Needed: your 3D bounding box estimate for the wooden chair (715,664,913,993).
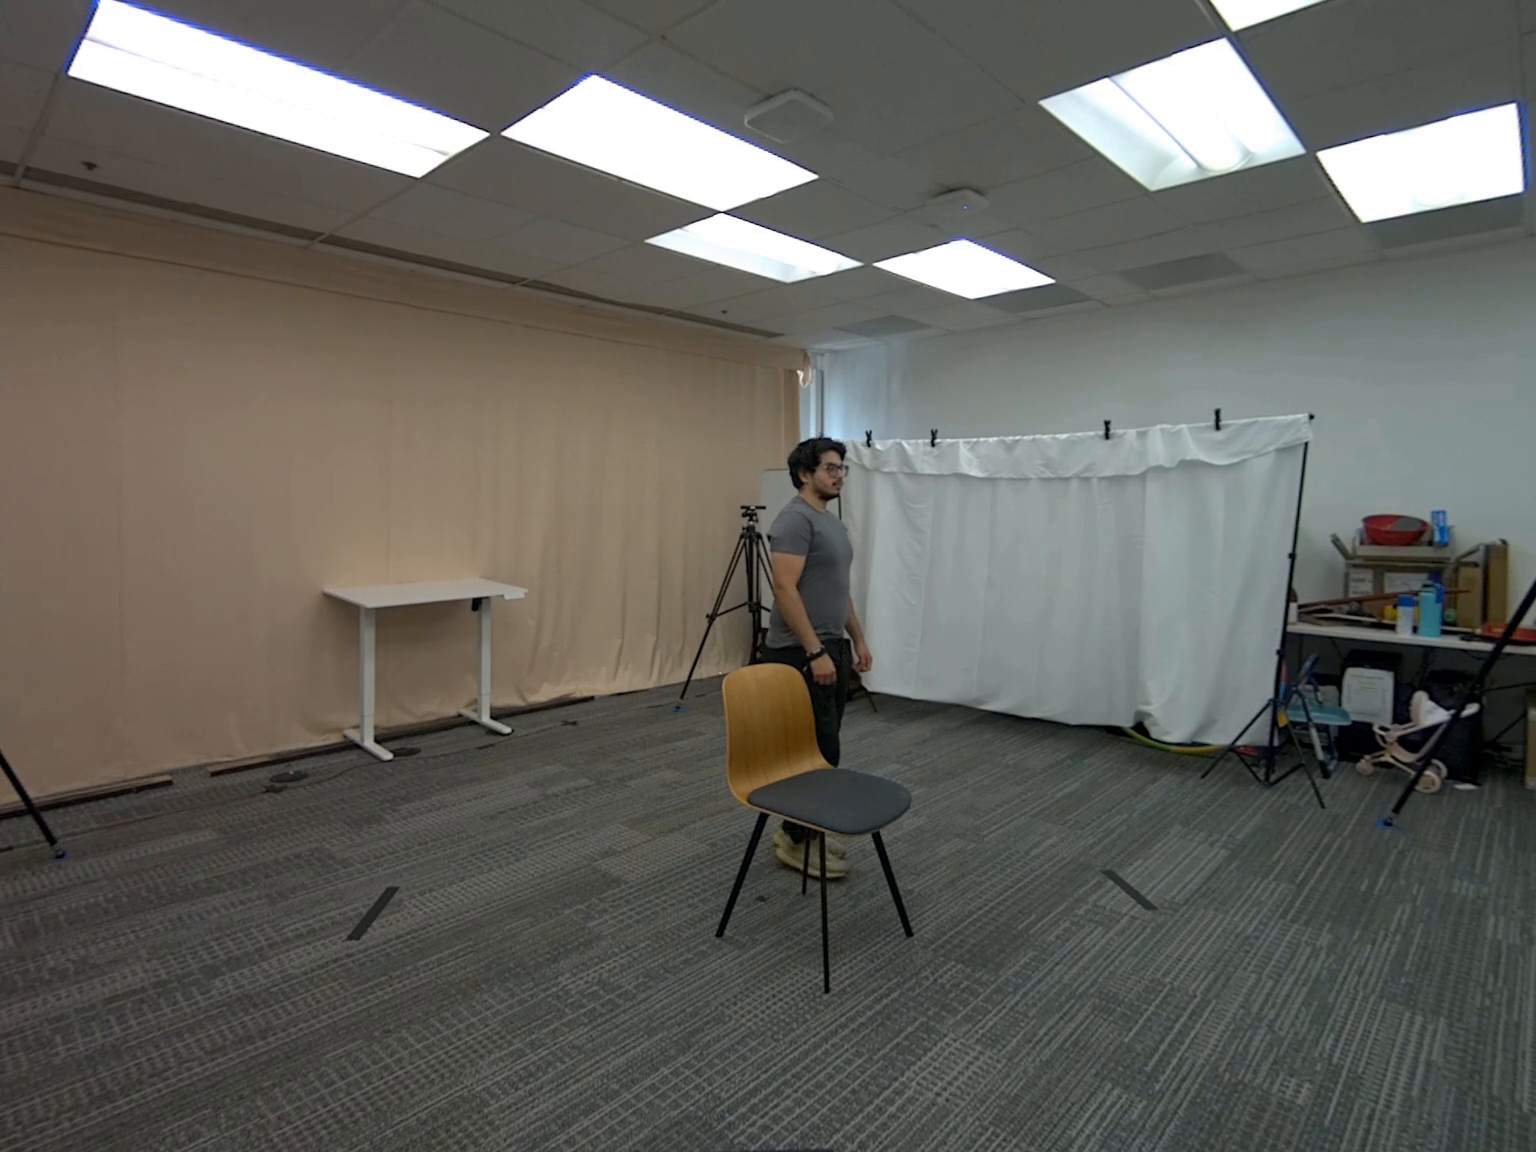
[{"bbox_3d":[0.157,0.744,2.680,0.539,0.877,0.463,-3,1,43],"label":"wooden chair"}]
